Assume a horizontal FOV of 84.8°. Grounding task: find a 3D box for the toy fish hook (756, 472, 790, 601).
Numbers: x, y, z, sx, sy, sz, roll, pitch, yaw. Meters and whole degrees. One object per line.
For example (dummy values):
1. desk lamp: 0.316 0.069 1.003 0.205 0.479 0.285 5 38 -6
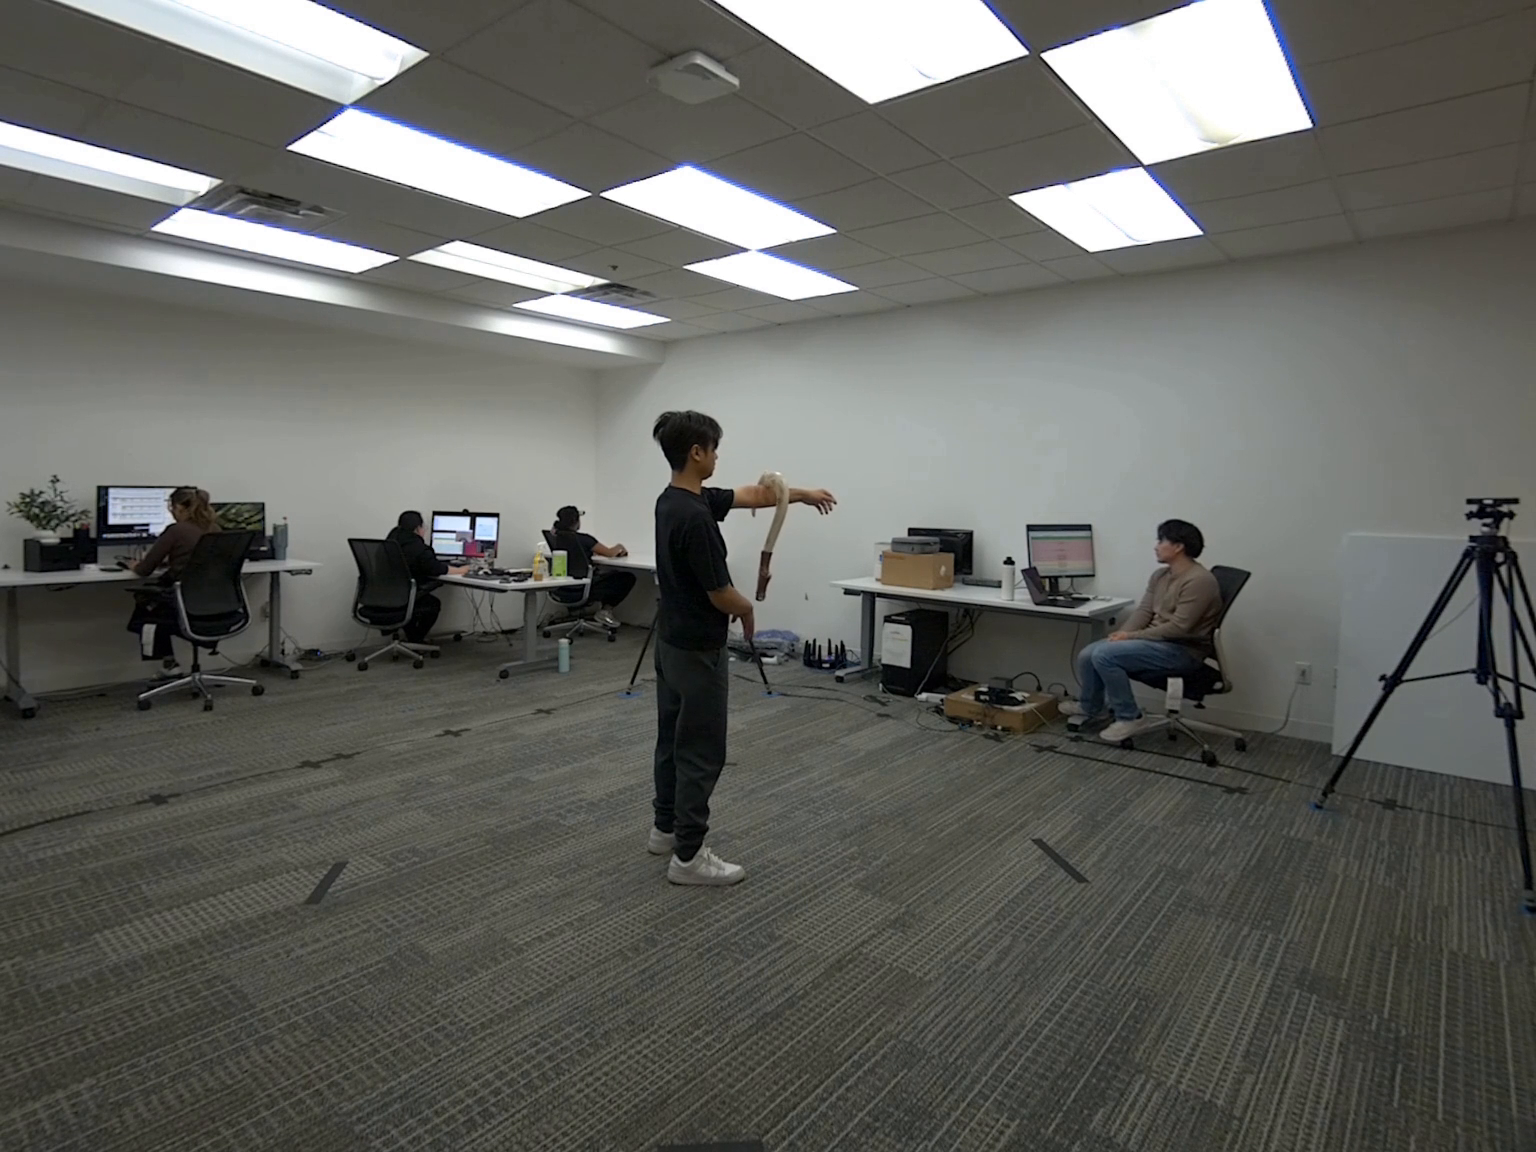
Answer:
1. toy fish hook: -0.029 -0.161 3.356 0.047 0.503 0.233 5 10 -33
